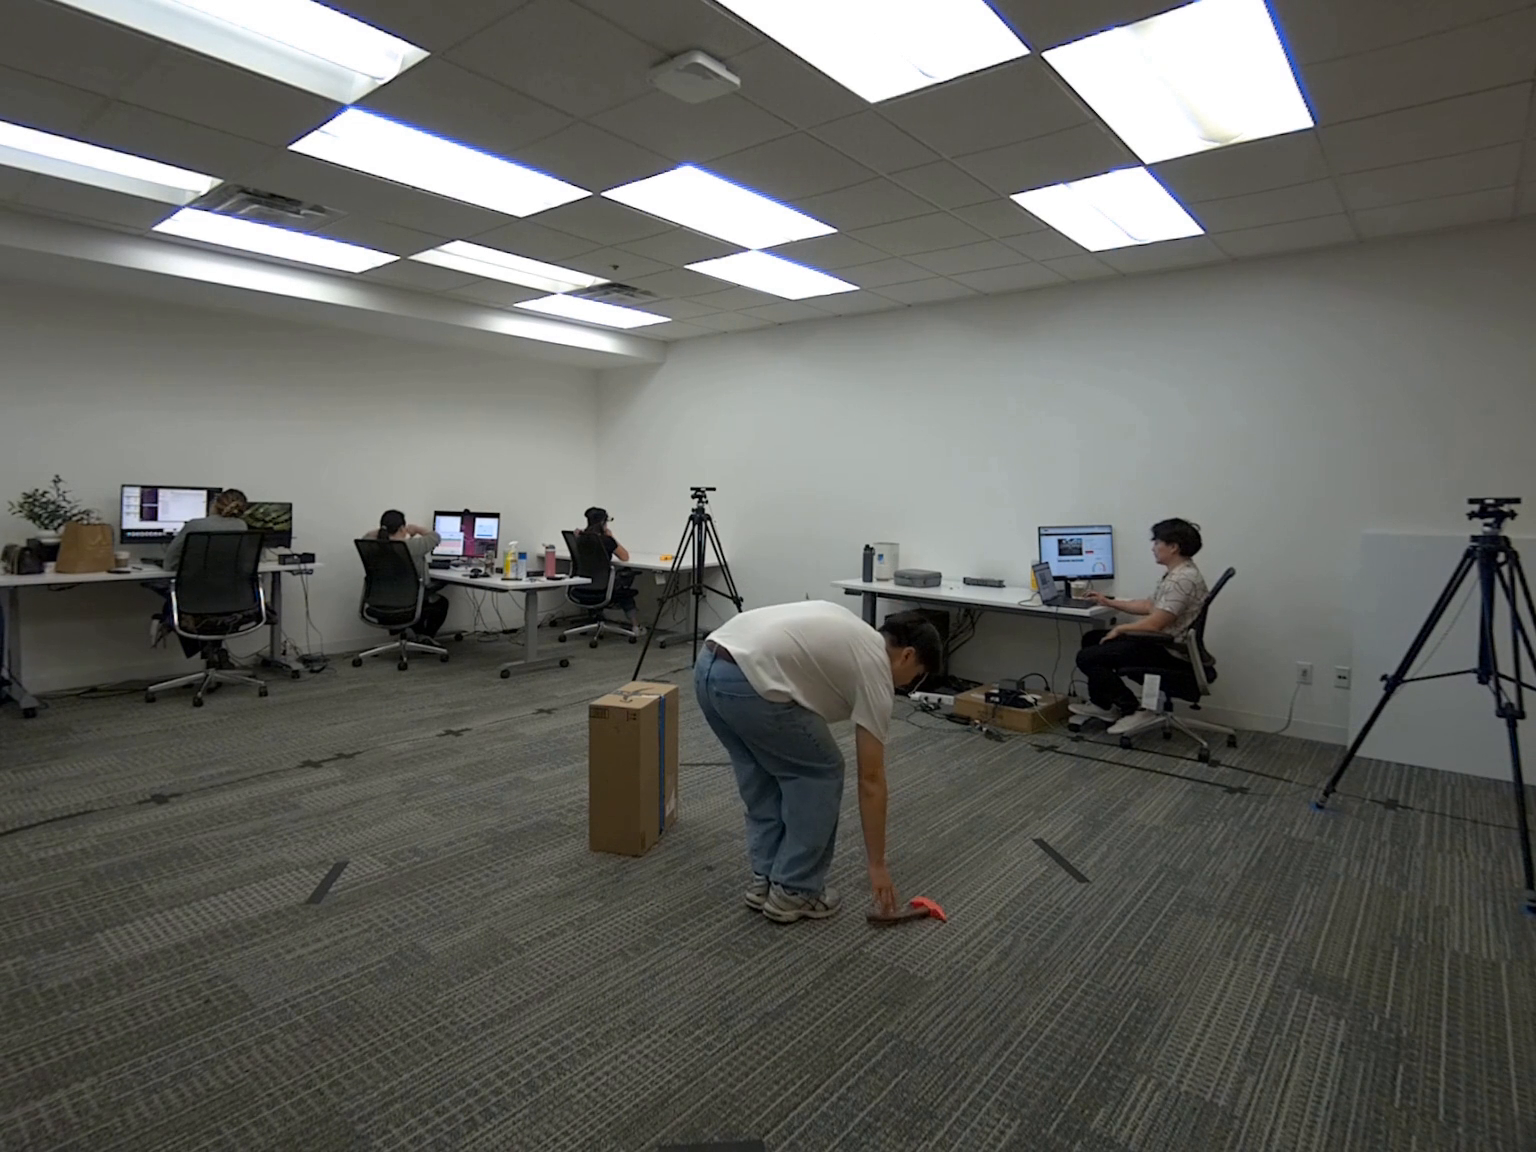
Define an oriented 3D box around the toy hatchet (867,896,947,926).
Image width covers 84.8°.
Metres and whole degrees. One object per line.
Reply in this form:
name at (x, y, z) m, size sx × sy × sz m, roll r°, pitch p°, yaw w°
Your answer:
toy hatchet at (0.436, 1.094, 2.799) m, size 0.267 × 0.029 × 0.133 m, roll 2°, pitch 10°, yaw -9°
